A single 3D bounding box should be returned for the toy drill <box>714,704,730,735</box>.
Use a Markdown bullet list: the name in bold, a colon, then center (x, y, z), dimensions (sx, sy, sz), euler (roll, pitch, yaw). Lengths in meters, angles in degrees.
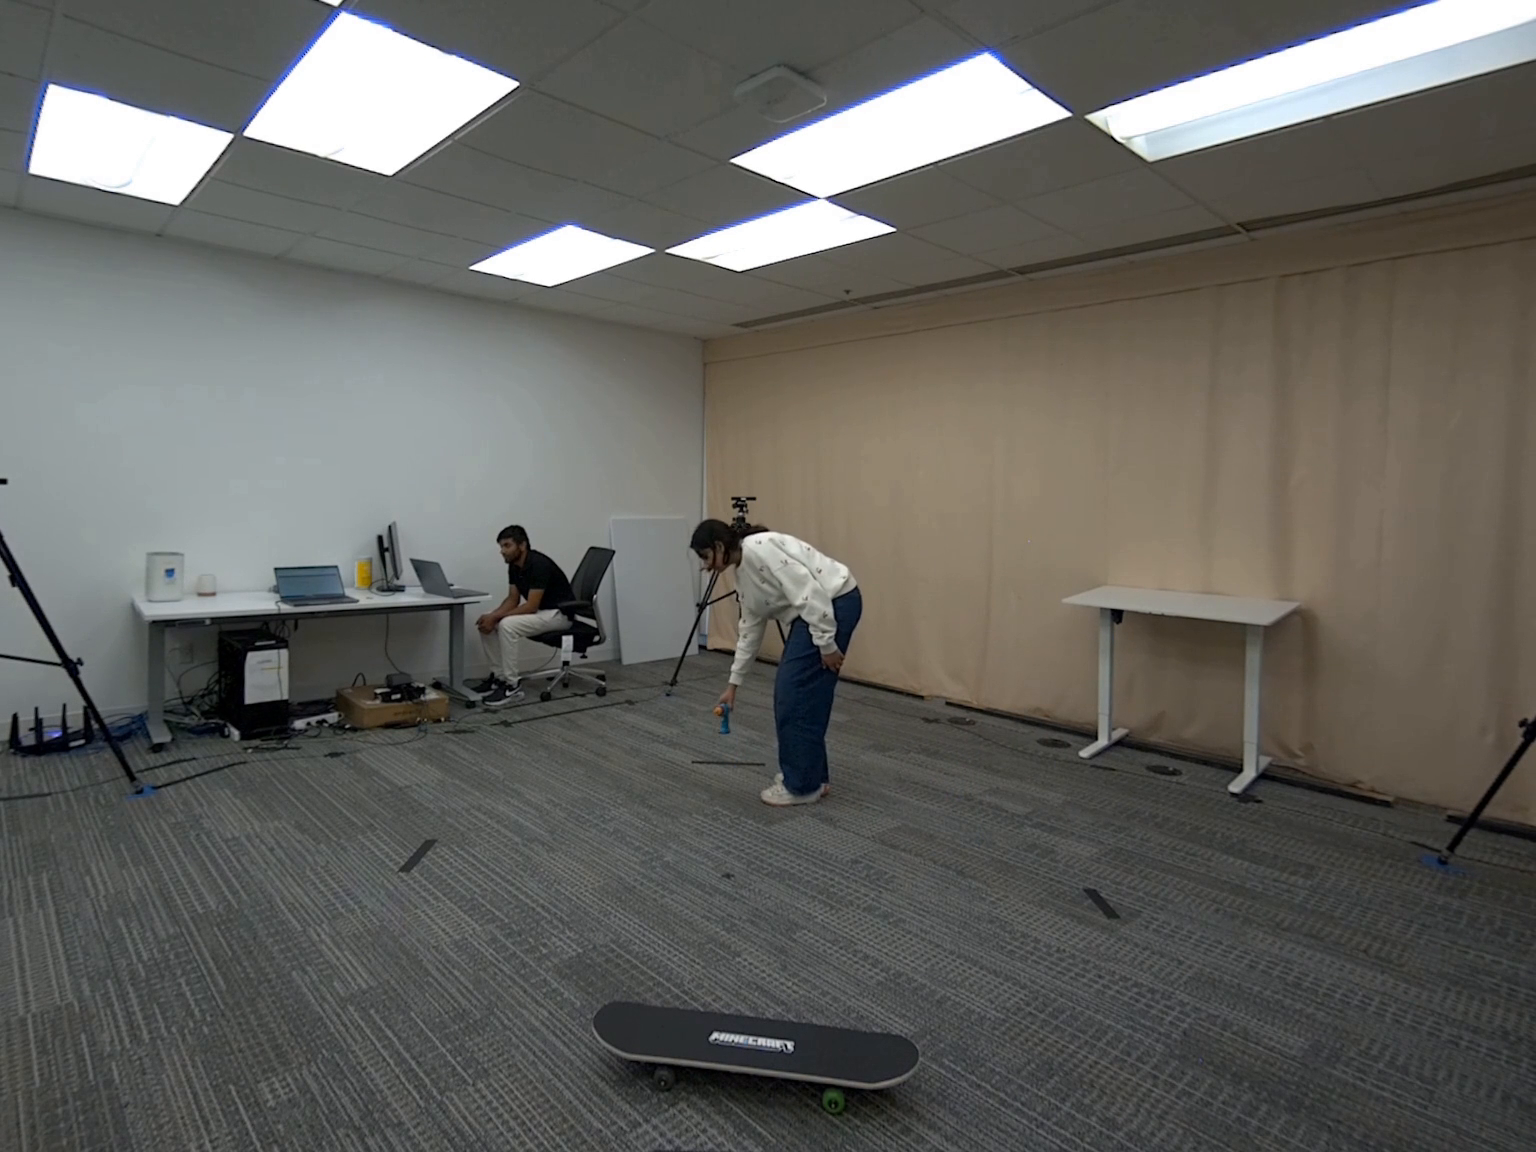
- **toy drill**: center (-0.226, 0.678, 4.045), dimensions (0.062, 0.146, 0.166), euler (4, -3, 24)
